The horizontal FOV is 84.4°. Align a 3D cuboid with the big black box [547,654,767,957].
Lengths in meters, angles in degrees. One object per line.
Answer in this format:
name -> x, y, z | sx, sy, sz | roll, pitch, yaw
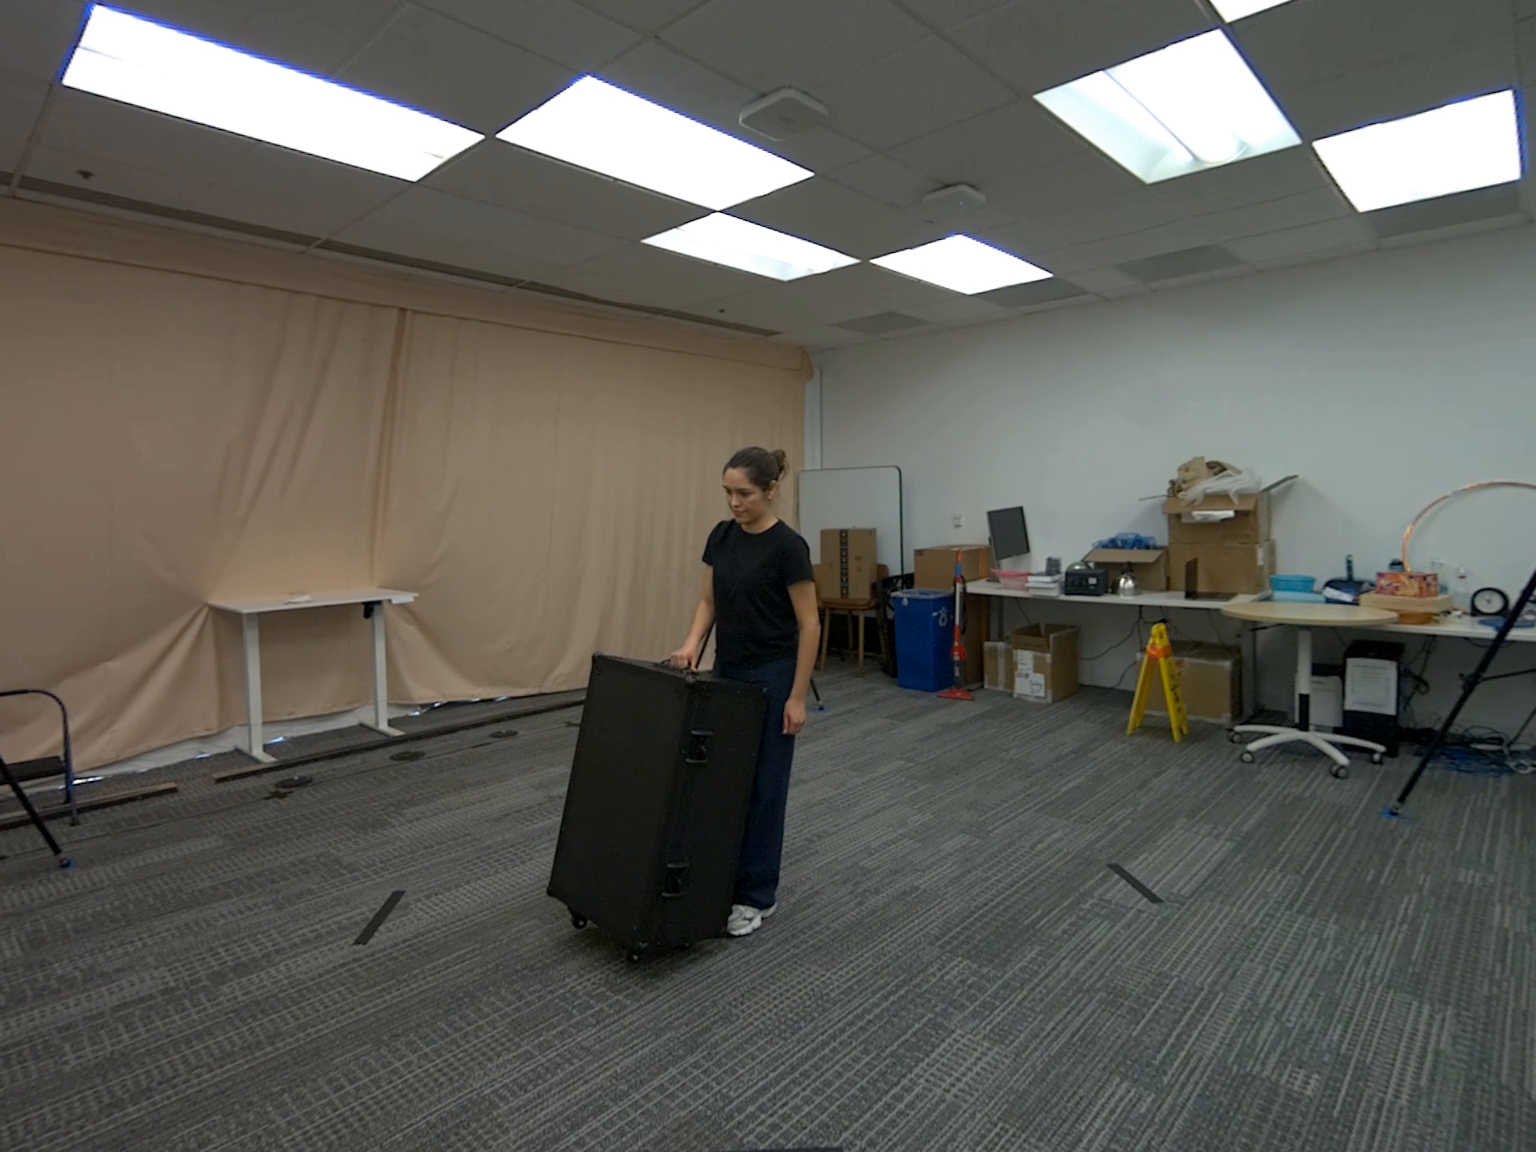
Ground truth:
big black box -> -0.328, 0.673, 2.710 | 0.539, 0.863, 0.382 | 5, -6, 44
